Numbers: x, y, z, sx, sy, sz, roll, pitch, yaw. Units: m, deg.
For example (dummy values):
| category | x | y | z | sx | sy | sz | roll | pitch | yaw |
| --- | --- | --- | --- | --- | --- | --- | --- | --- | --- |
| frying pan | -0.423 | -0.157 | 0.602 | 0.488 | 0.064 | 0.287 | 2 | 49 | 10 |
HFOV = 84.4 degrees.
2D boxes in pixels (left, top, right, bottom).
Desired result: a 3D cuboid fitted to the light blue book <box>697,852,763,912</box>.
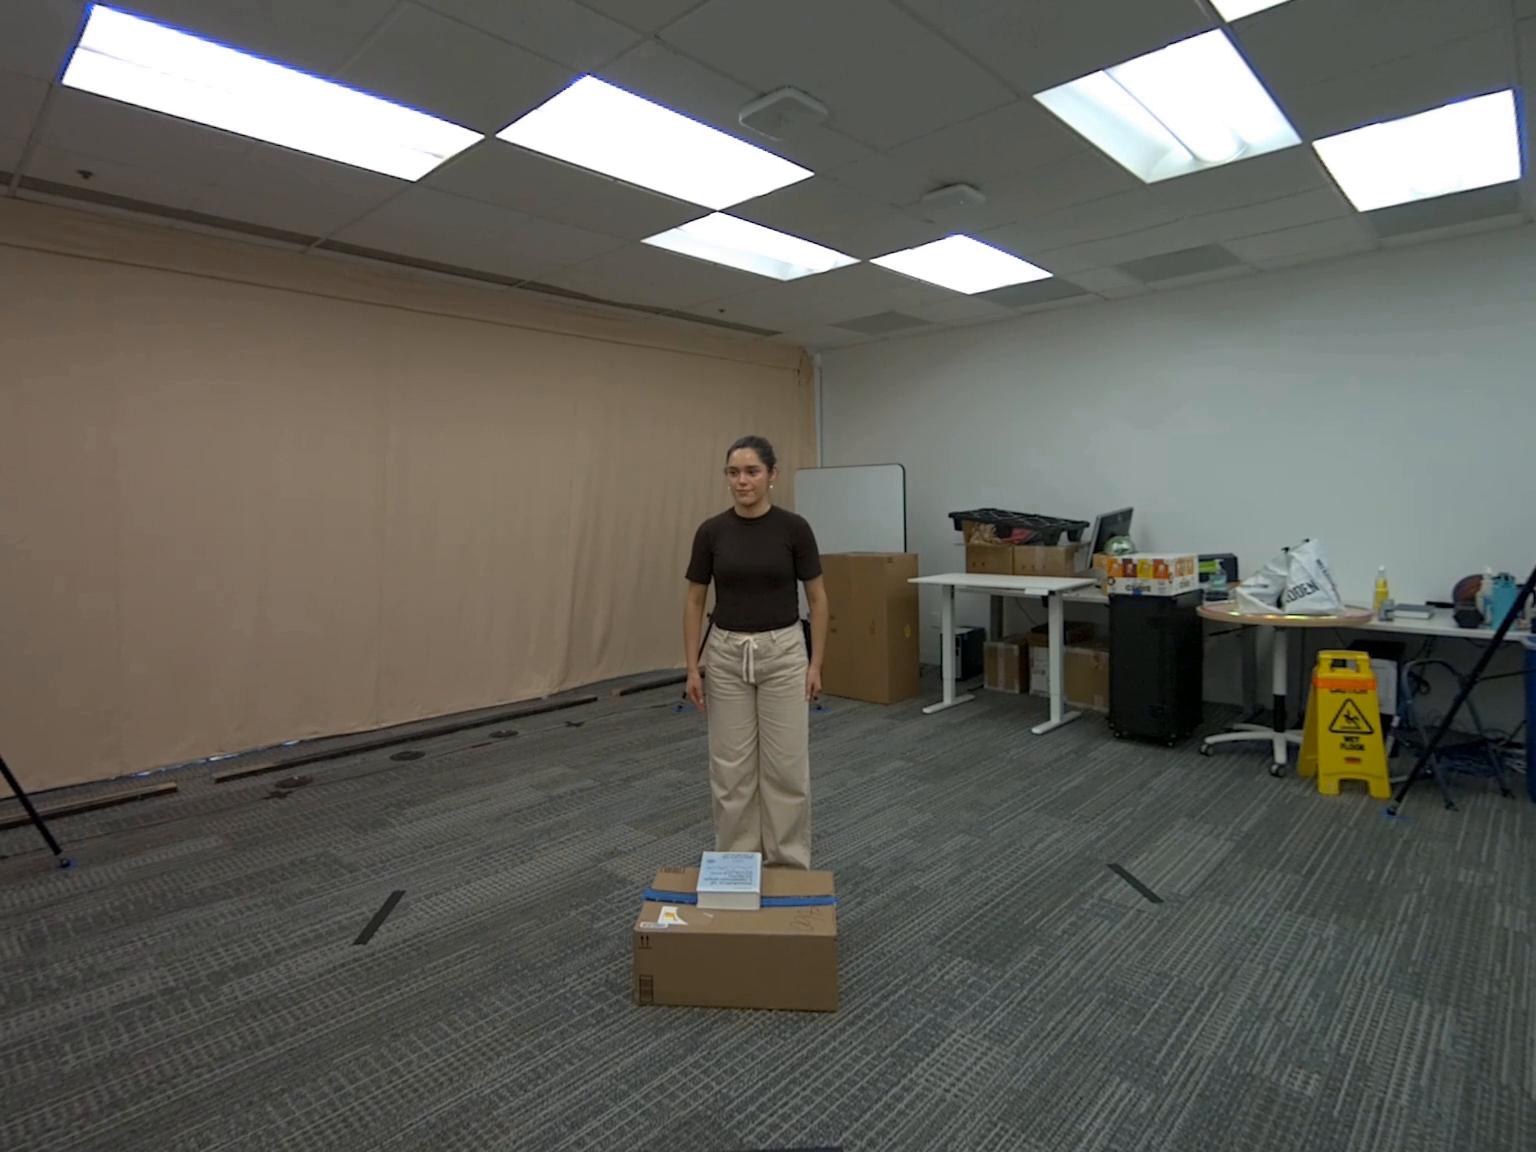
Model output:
| category | x | y | z | sx | sy | sz | roll | pitch | yaw |
| --- | --- | --- | --- | --- | --- | --- | --- | --- | --- |
| light blue book | -0.111 | 0.931 | 2.595 | 0.192 | 0.059 | 0.261 | 0 | 6 | 2 |
